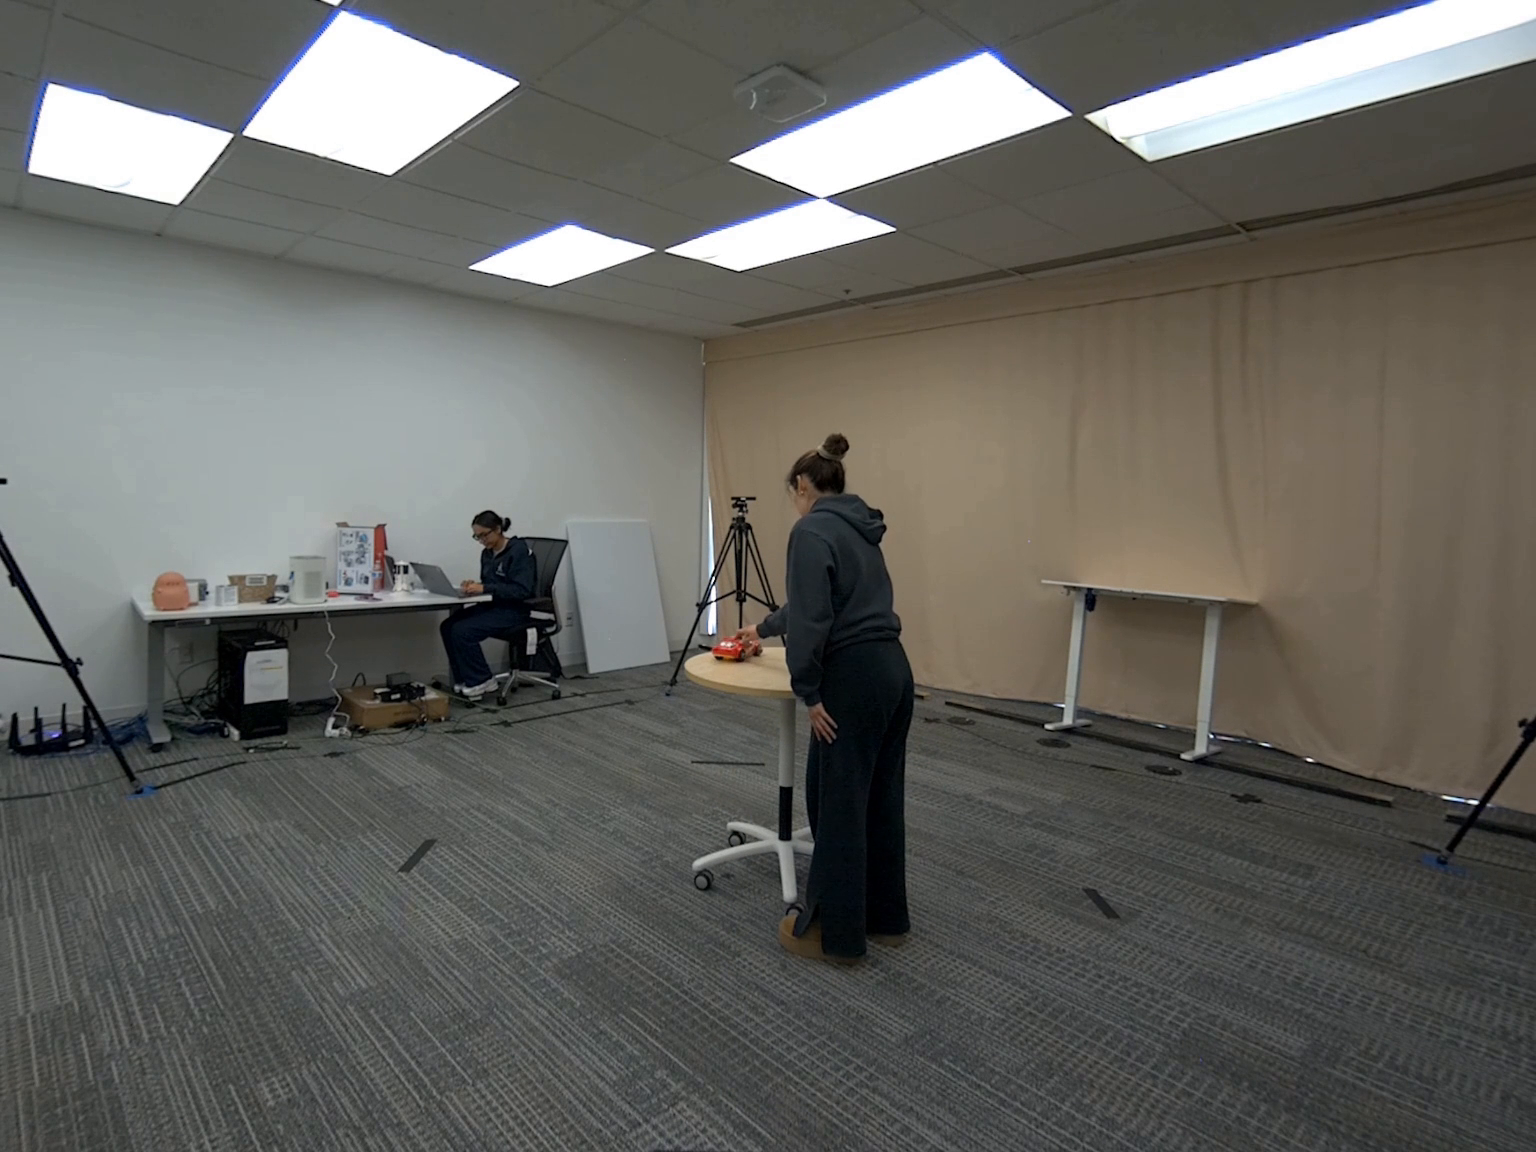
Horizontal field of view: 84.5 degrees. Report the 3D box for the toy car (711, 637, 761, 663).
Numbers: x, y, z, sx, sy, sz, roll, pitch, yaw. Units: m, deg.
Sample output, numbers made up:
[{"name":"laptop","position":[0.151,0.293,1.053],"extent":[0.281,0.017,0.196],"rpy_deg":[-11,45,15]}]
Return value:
[{"name":"toy car","position":[-0.132,0.282,3.207],"extent":[0.133,0.083,0.248],"rpy_deg":[5,-5,24]}]
